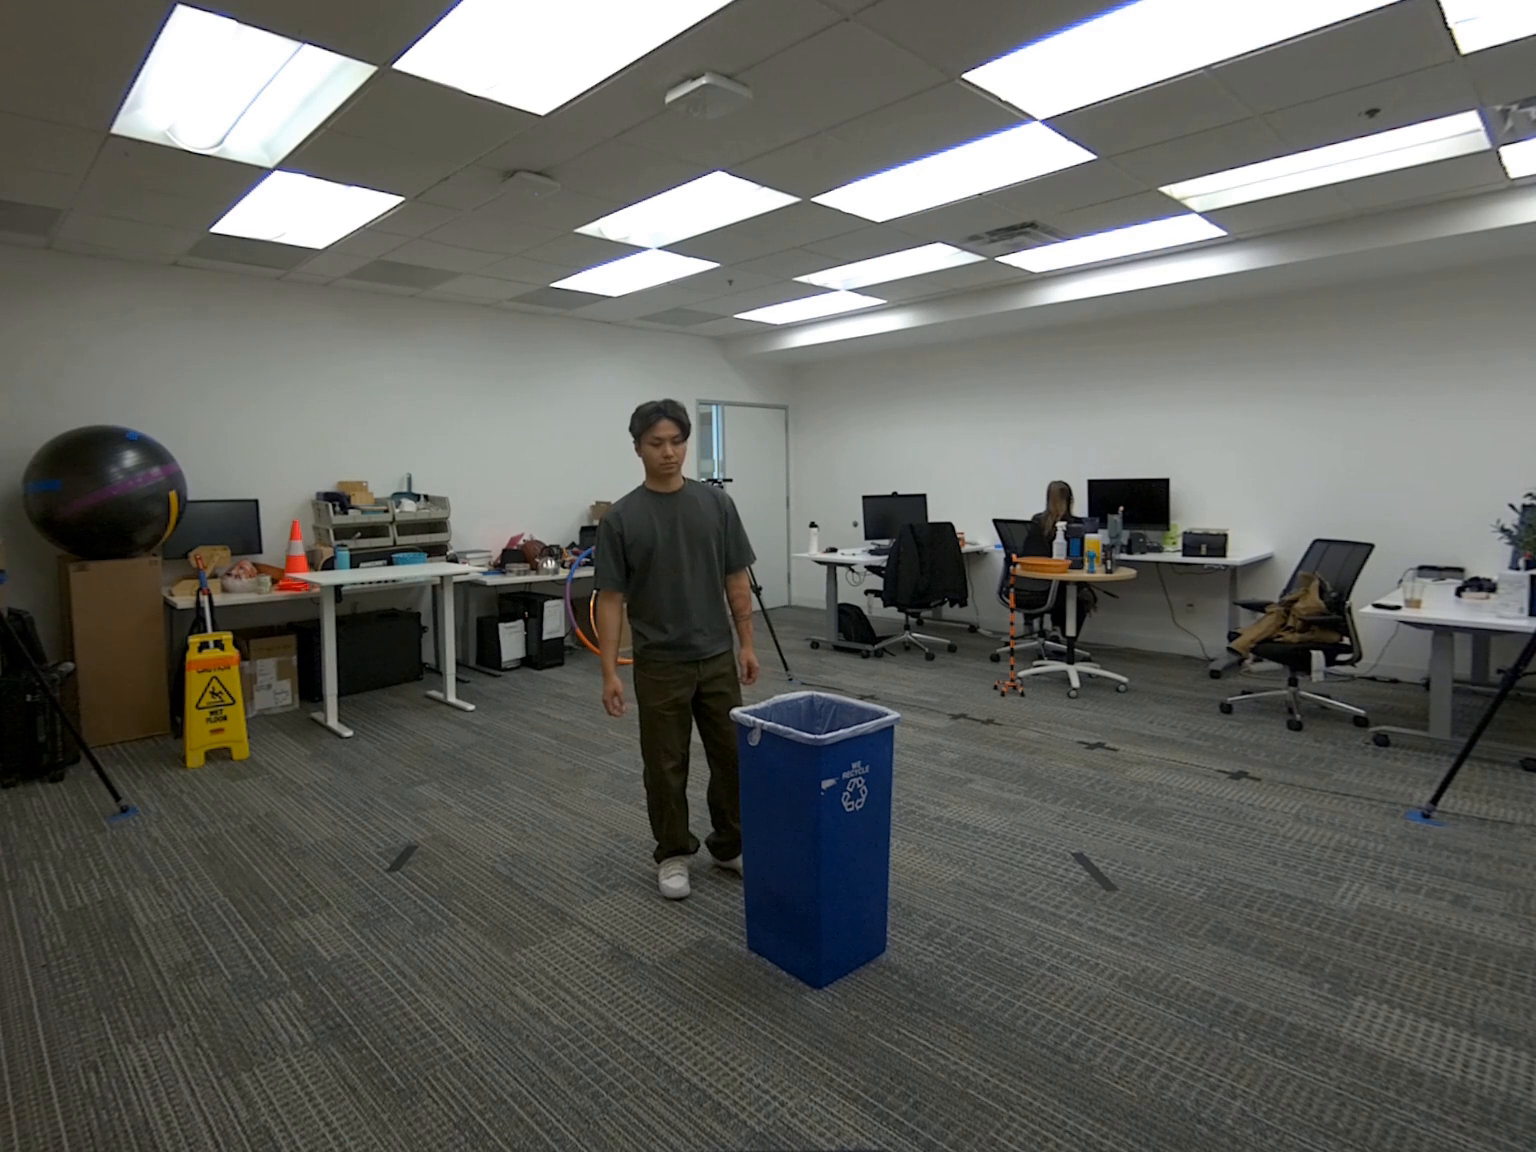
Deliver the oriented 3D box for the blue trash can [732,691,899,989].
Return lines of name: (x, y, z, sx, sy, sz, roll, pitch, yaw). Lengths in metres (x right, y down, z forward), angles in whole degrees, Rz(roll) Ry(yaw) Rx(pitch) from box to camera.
blue trash can: (0.147, 0.751, 2.519, 0.364, 0.711, 0.390, -5, 6, -42)
